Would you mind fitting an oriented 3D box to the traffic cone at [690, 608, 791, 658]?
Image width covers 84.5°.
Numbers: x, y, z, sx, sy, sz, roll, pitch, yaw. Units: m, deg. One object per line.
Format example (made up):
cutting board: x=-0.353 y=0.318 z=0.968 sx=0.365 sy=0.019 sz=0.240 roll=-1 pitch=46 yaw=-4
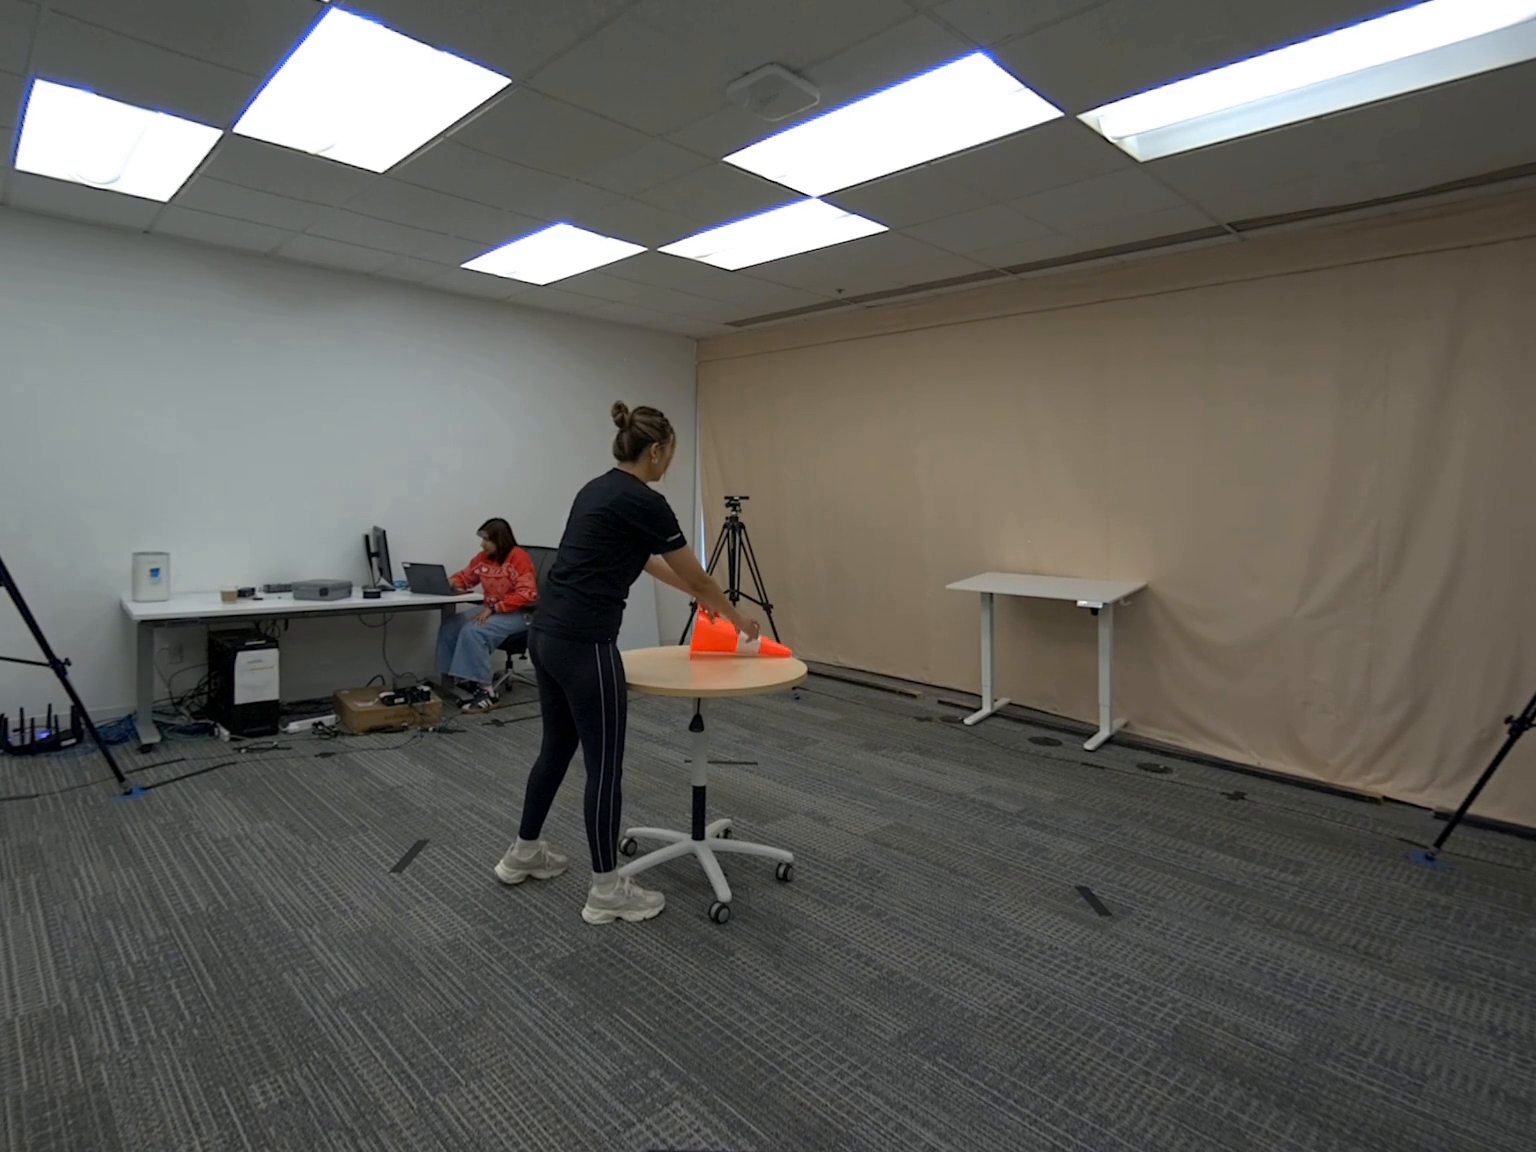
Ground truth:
traffic cone: x=-0.109 y=0.233 z=3.212 sx=0.384 sy=0.203 sz=0.205 roll=8 pitch=4 yaw=0
